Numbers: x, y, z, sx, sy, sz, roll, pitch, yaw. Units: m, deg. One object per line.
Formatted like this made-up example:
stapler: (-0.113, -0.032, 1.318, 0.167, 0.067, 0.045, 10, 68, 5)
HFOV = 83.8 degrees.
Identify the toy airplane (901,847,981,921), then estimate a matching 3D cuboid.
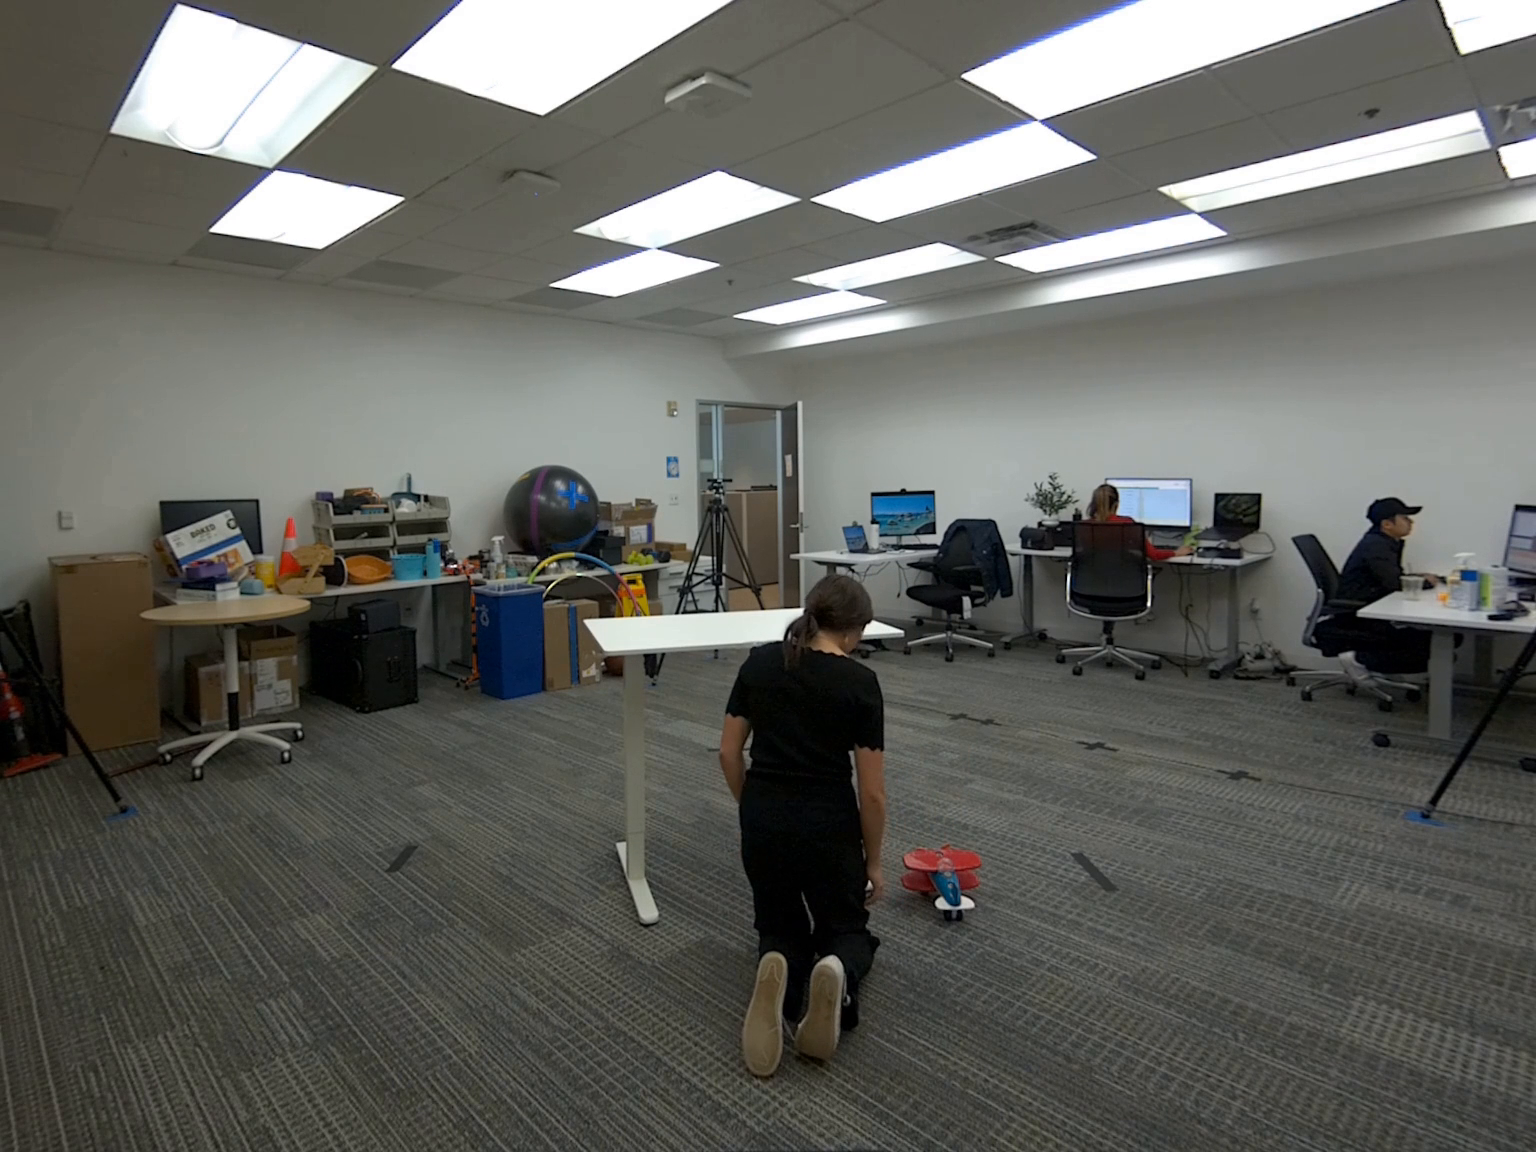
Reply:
toy airplane: (0.595, 0.997, 2.779, 0.245, 0.156, 0.266, -4, 6, -32)
